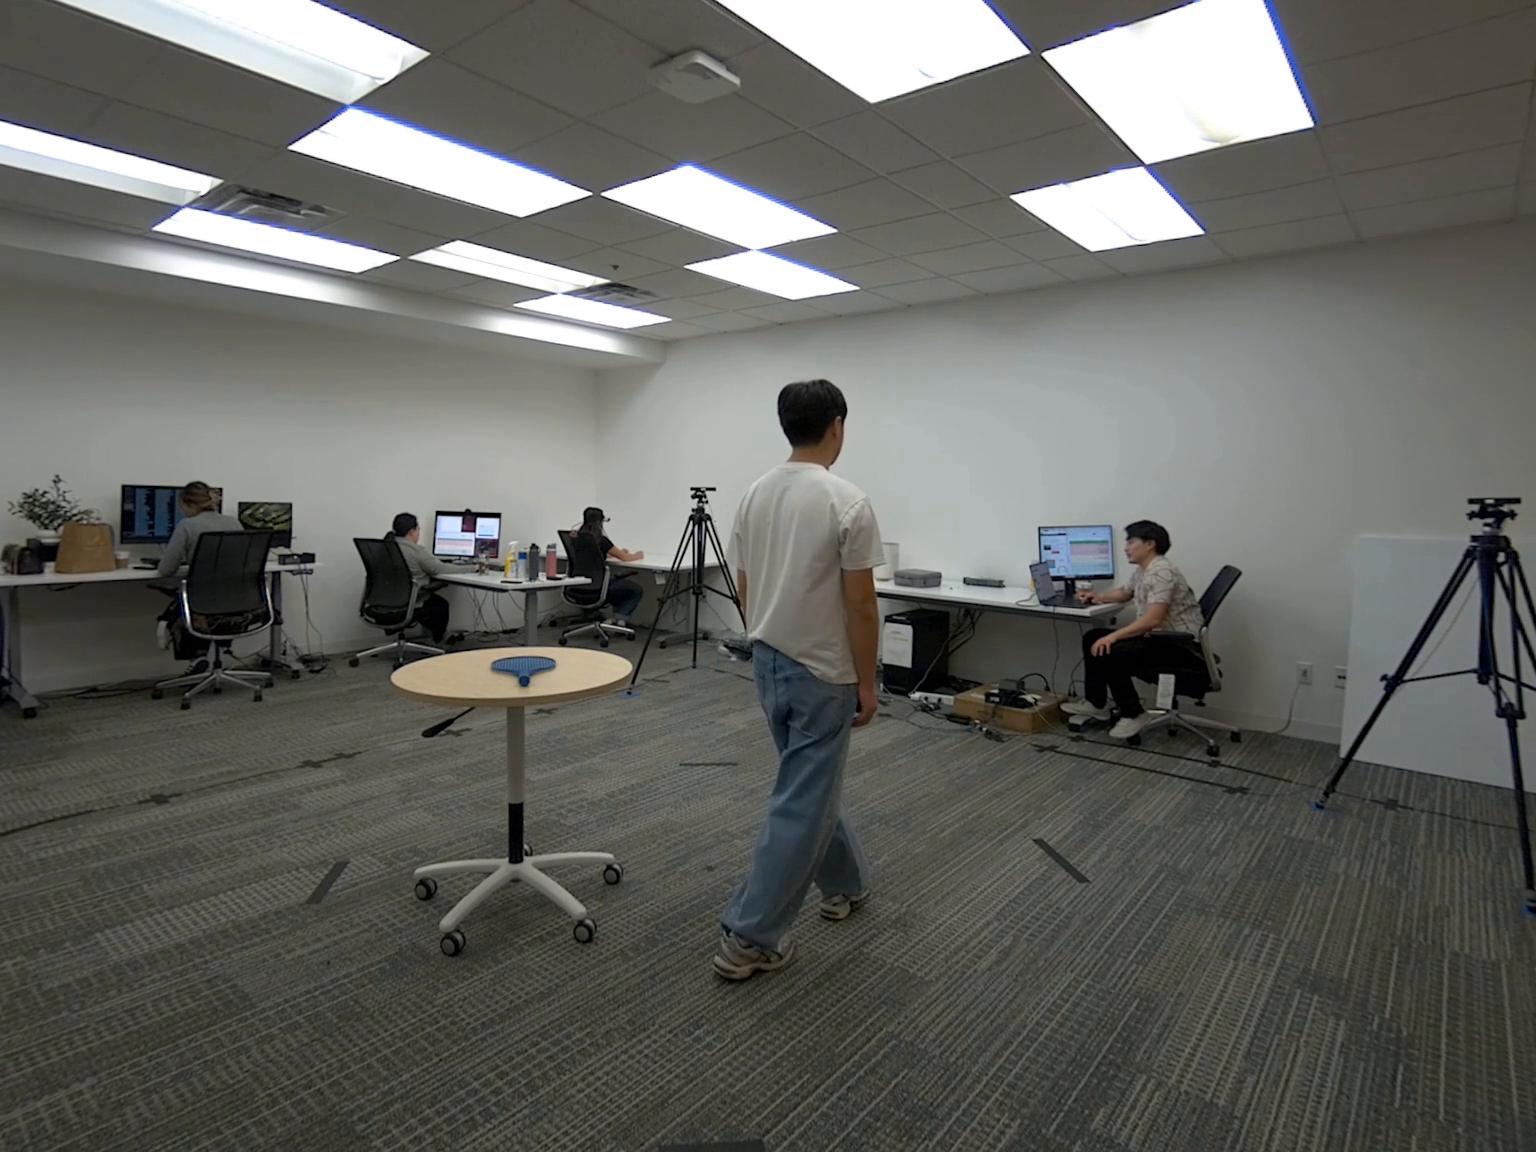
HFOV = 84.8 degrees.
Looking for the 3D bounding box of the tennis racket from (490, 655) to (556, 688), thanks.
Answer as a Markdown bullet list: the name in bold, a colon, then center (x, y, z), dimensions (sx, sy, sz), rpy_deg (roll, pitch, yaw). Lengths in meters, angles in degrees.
- **tennis racket**: center (-0.796, 0.302, 2.738), dimensions (0.210, 0.032, 0.441), rpy_deg (-1, 4, -17)
